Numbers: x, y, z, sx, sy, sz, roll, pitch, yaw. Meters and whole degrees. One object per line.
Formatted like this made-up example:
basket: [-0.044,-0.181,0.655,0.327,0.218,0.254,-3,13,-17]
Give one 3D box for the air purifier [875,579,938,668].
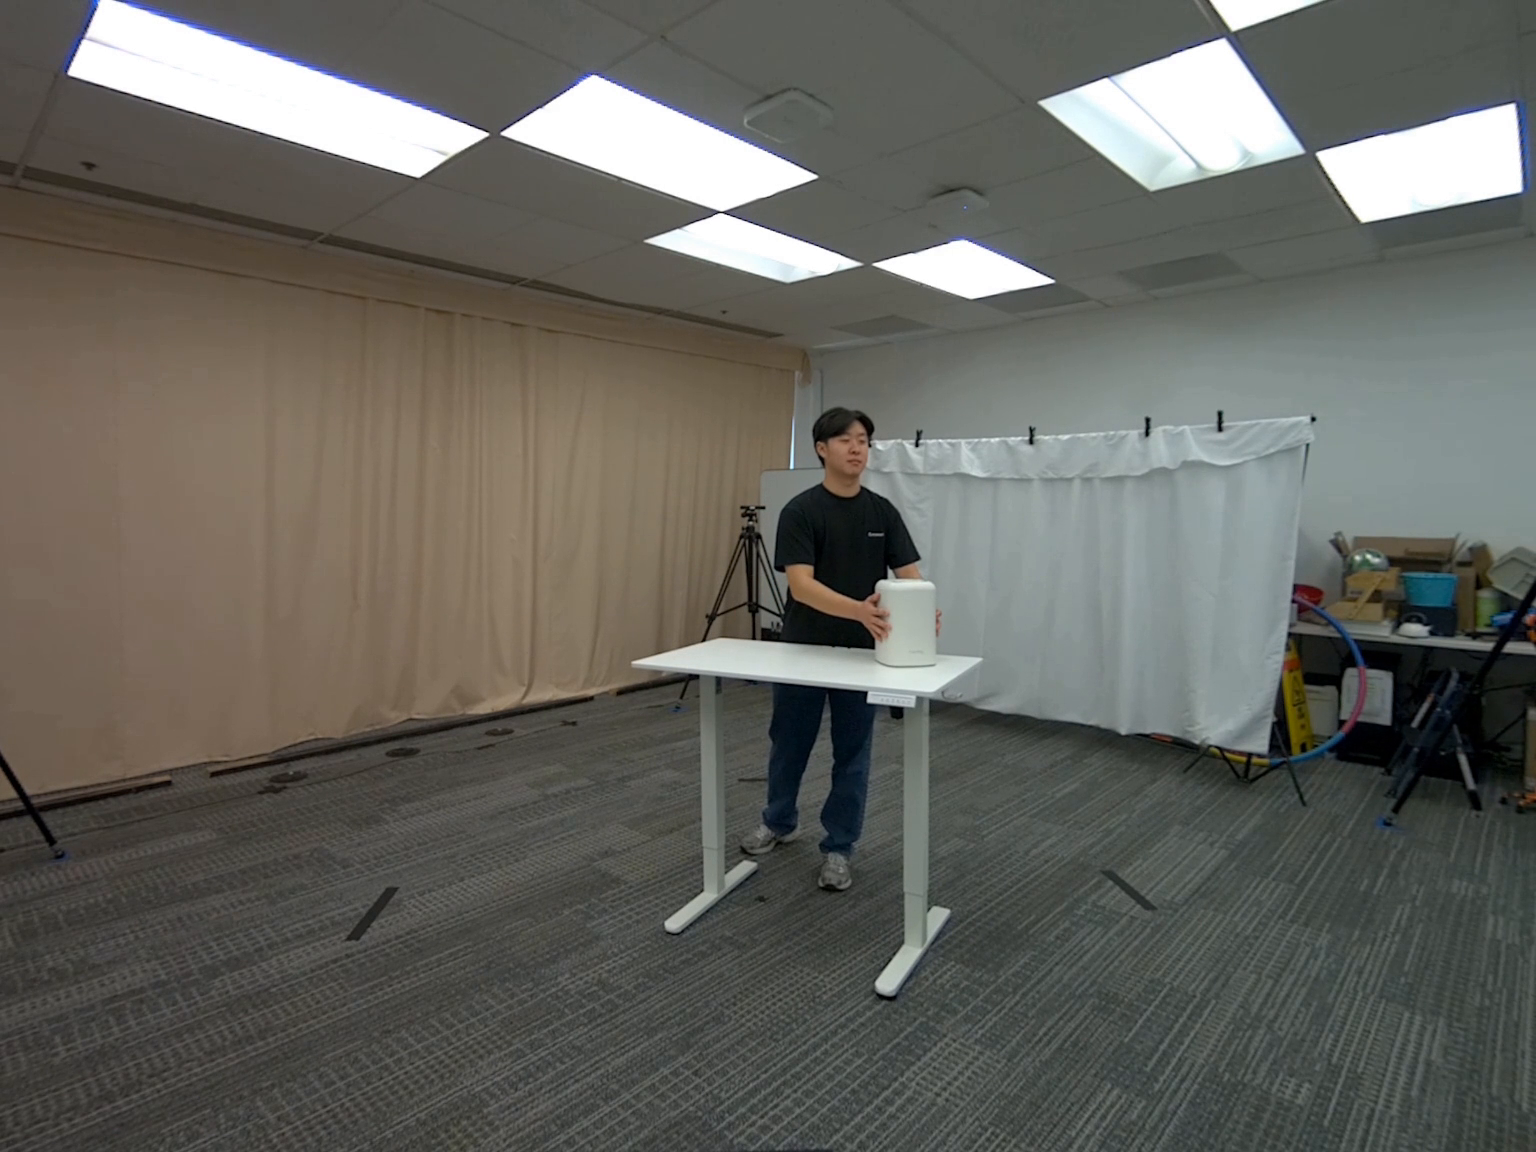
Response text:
air purifier: [0.437,0.148,2.703,0.169,0.265,0.174,-2,2,-11]
